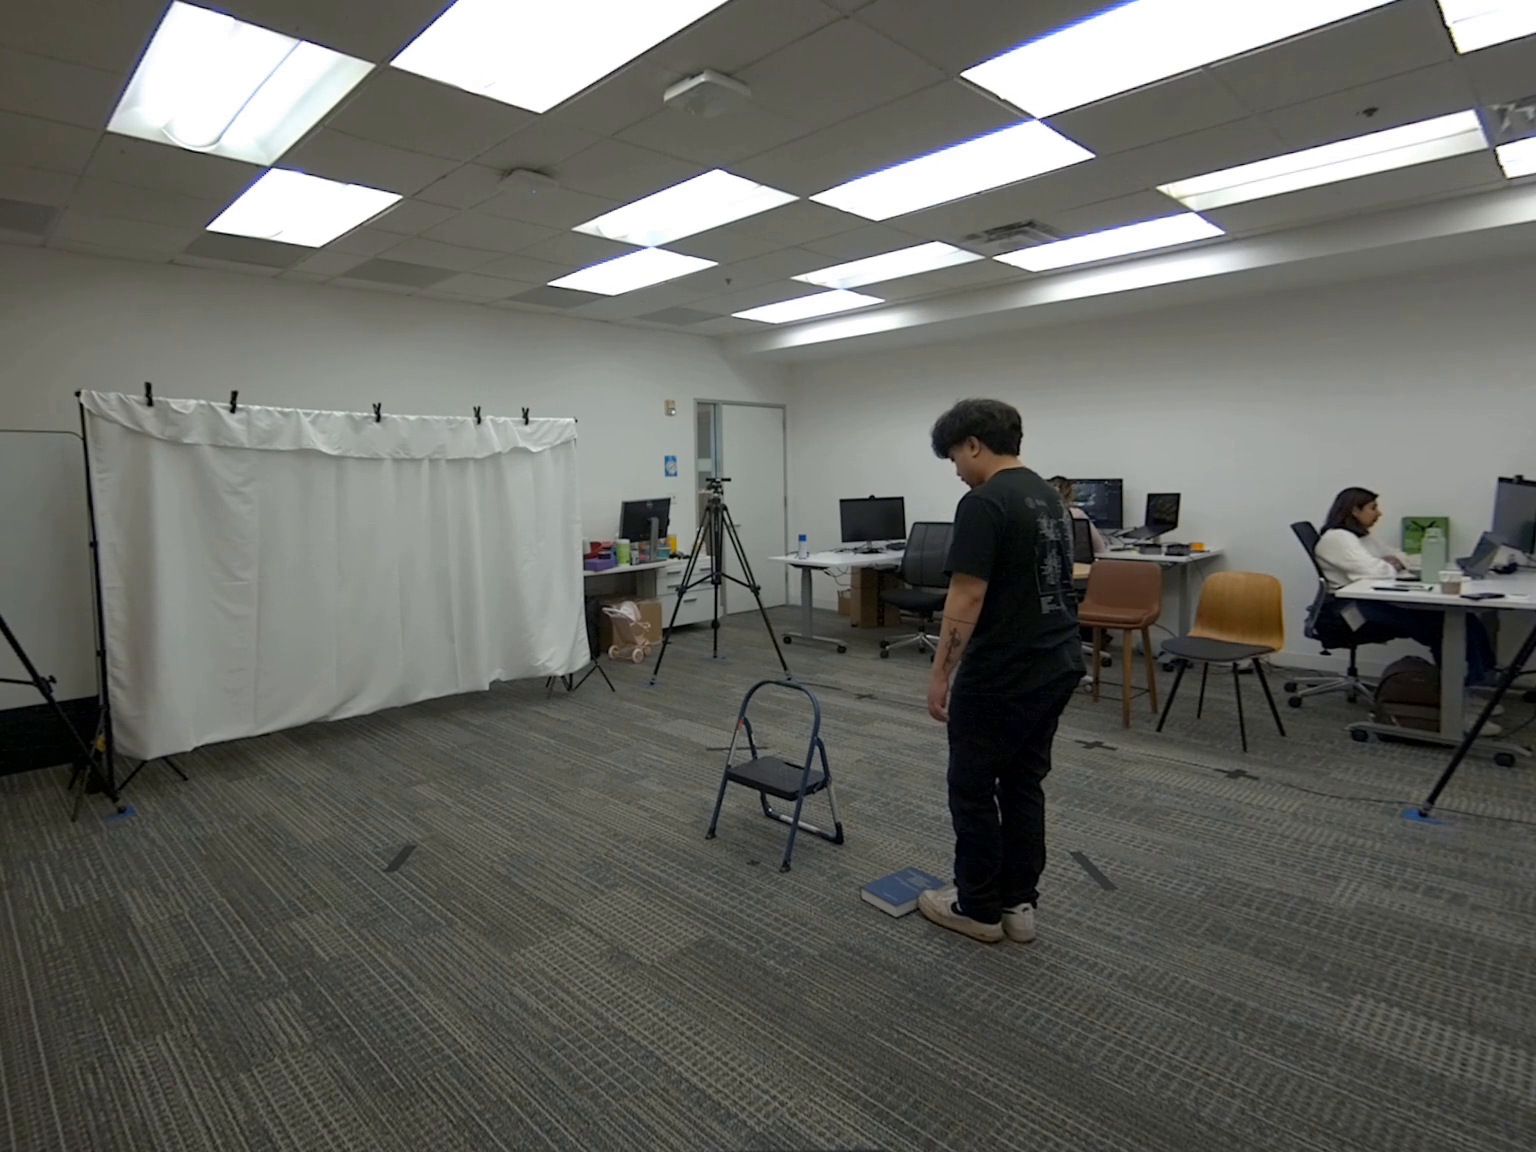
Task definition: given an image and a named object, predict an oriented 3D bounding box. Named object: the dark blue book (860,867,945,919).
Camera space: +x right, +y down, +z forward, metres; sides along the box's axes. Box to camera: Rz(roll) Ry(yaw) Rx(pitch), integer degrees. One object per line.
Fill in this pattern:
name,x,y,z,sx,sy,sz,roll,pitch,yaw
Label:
dark blue book,0.456,1.045,2.824,0.239,0.045,0.168,-6,8,-36
